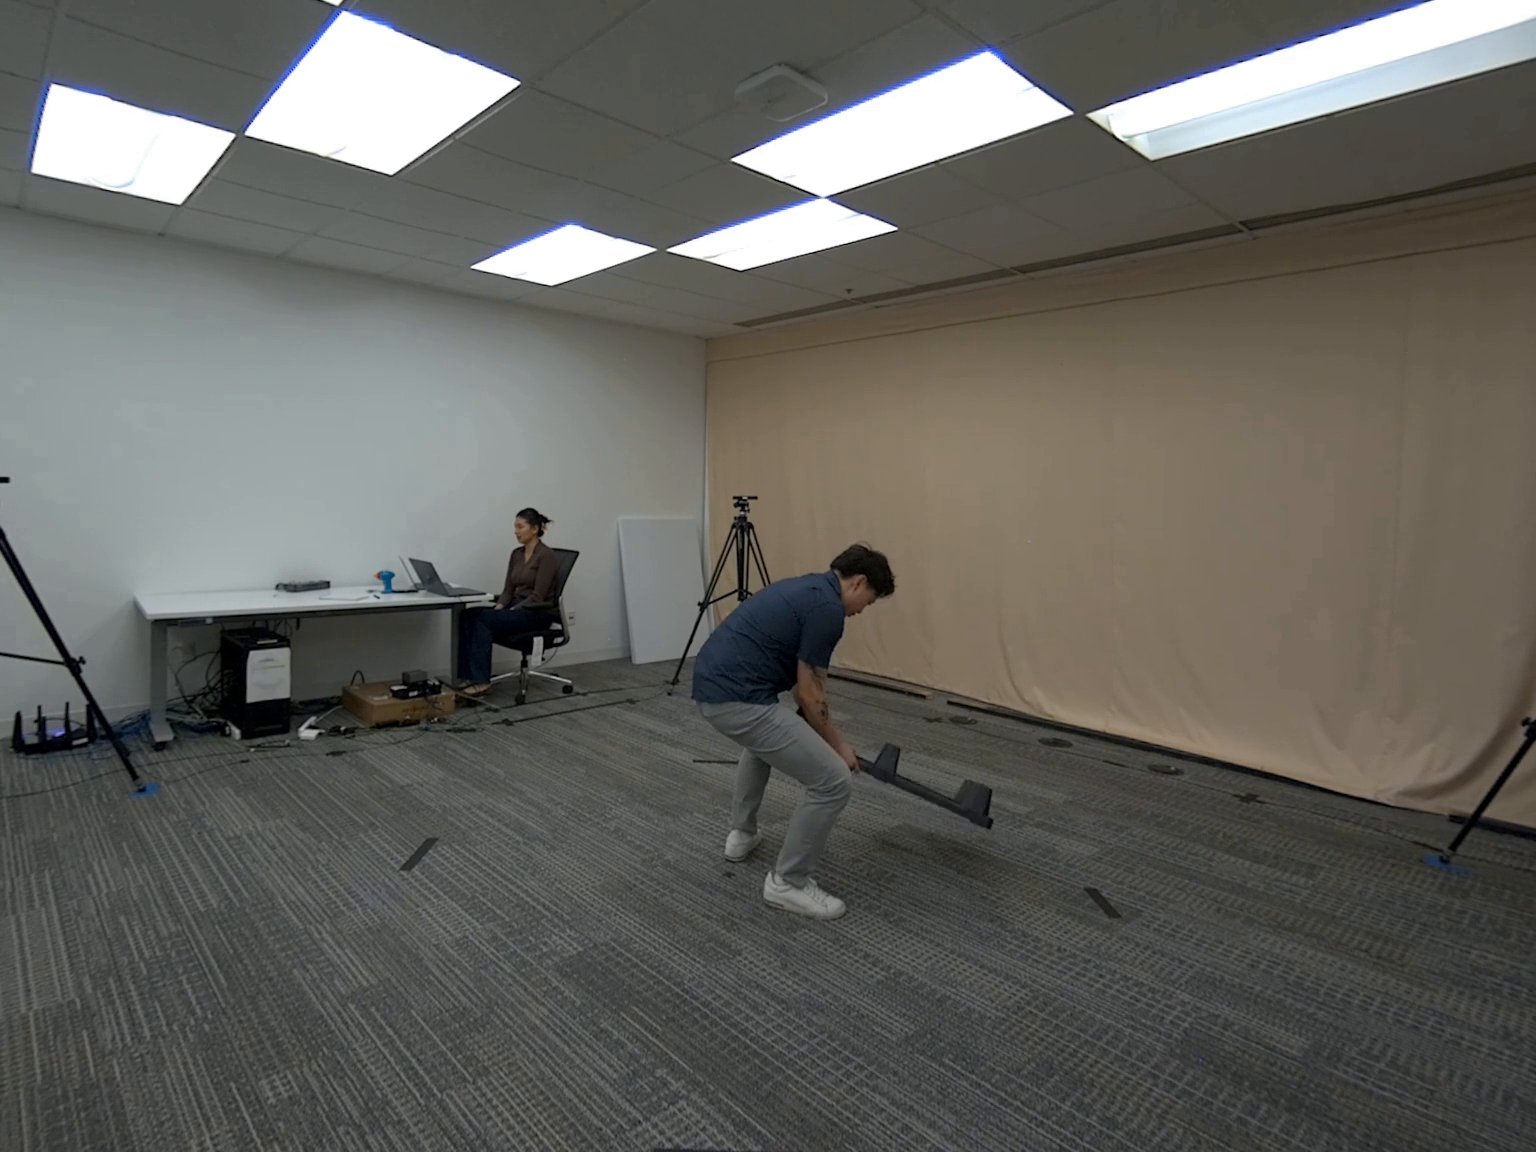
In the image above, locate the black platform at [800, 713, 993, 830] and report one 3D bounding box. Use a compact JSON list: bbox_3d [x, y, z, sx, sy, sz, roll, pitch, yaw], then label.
[{"bbox_3d":[0.459,0.727,3.265,0.817,0.144,0.595,23,-8,13],"label":"black platform"}]
